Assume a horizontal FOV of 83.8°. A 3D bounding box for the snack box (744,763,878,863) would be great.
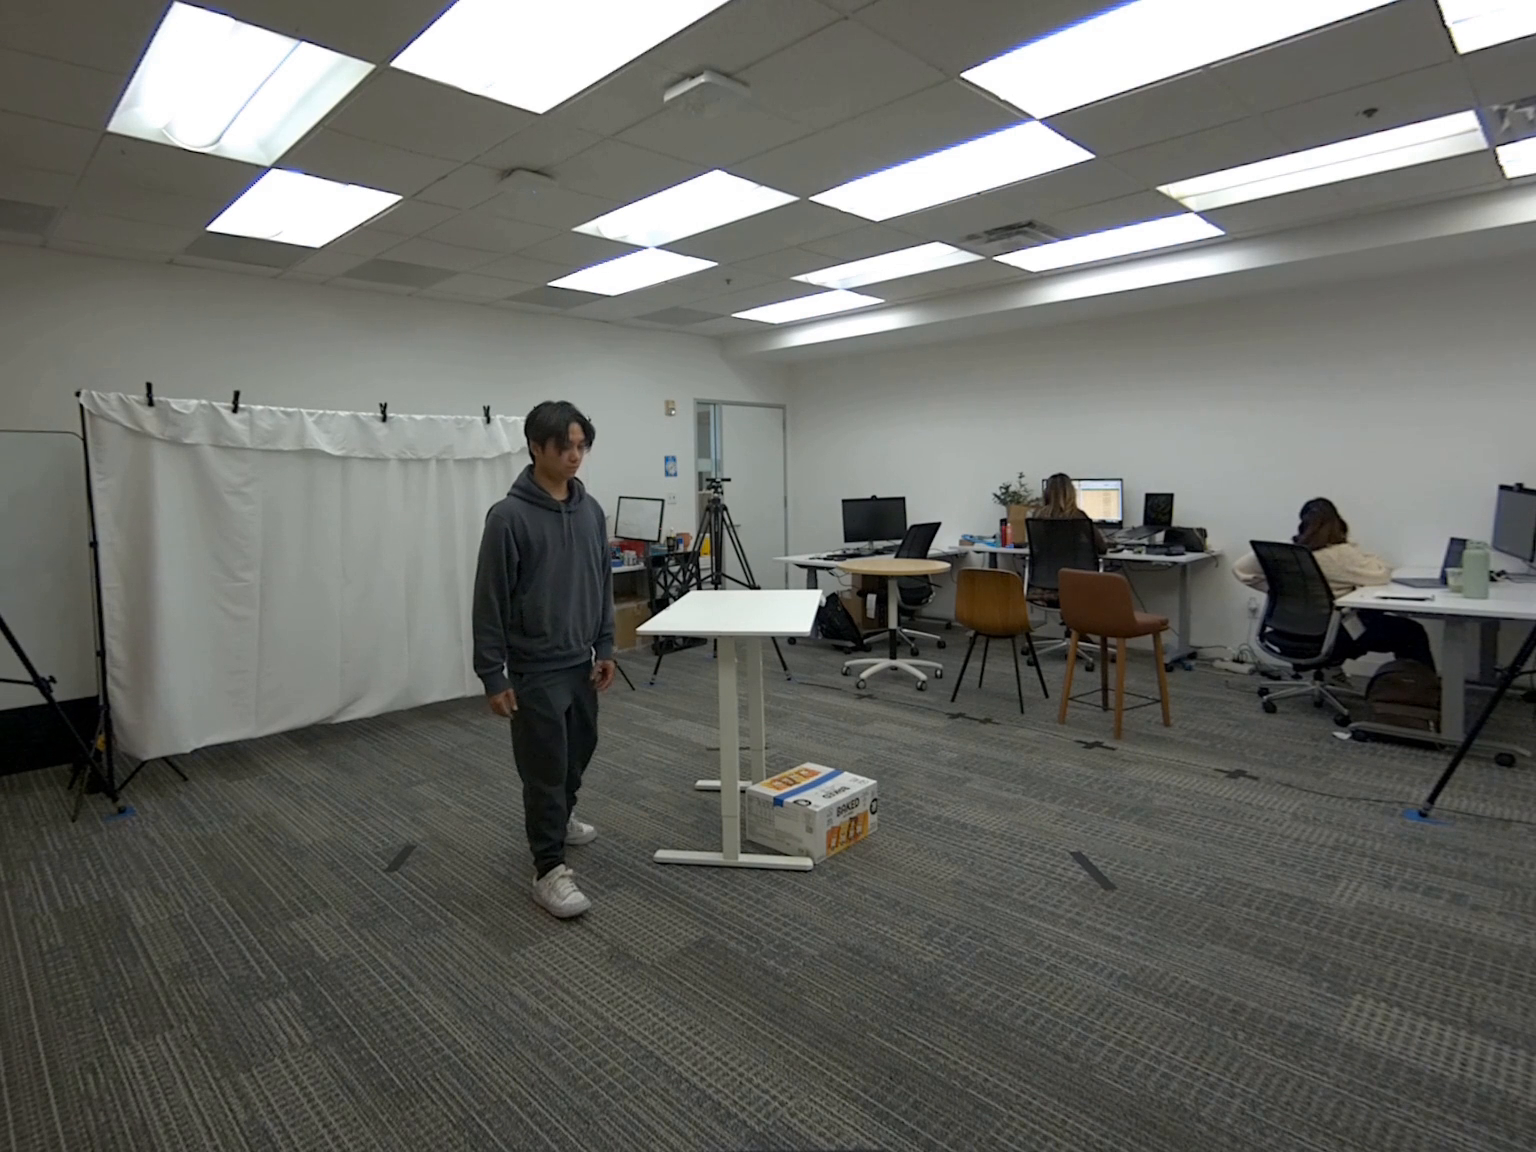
[{"bbox_3d":[0.176,0.913,3.327,0.351,0.205,0.395,4,8,41],"label":"snack box"}]
